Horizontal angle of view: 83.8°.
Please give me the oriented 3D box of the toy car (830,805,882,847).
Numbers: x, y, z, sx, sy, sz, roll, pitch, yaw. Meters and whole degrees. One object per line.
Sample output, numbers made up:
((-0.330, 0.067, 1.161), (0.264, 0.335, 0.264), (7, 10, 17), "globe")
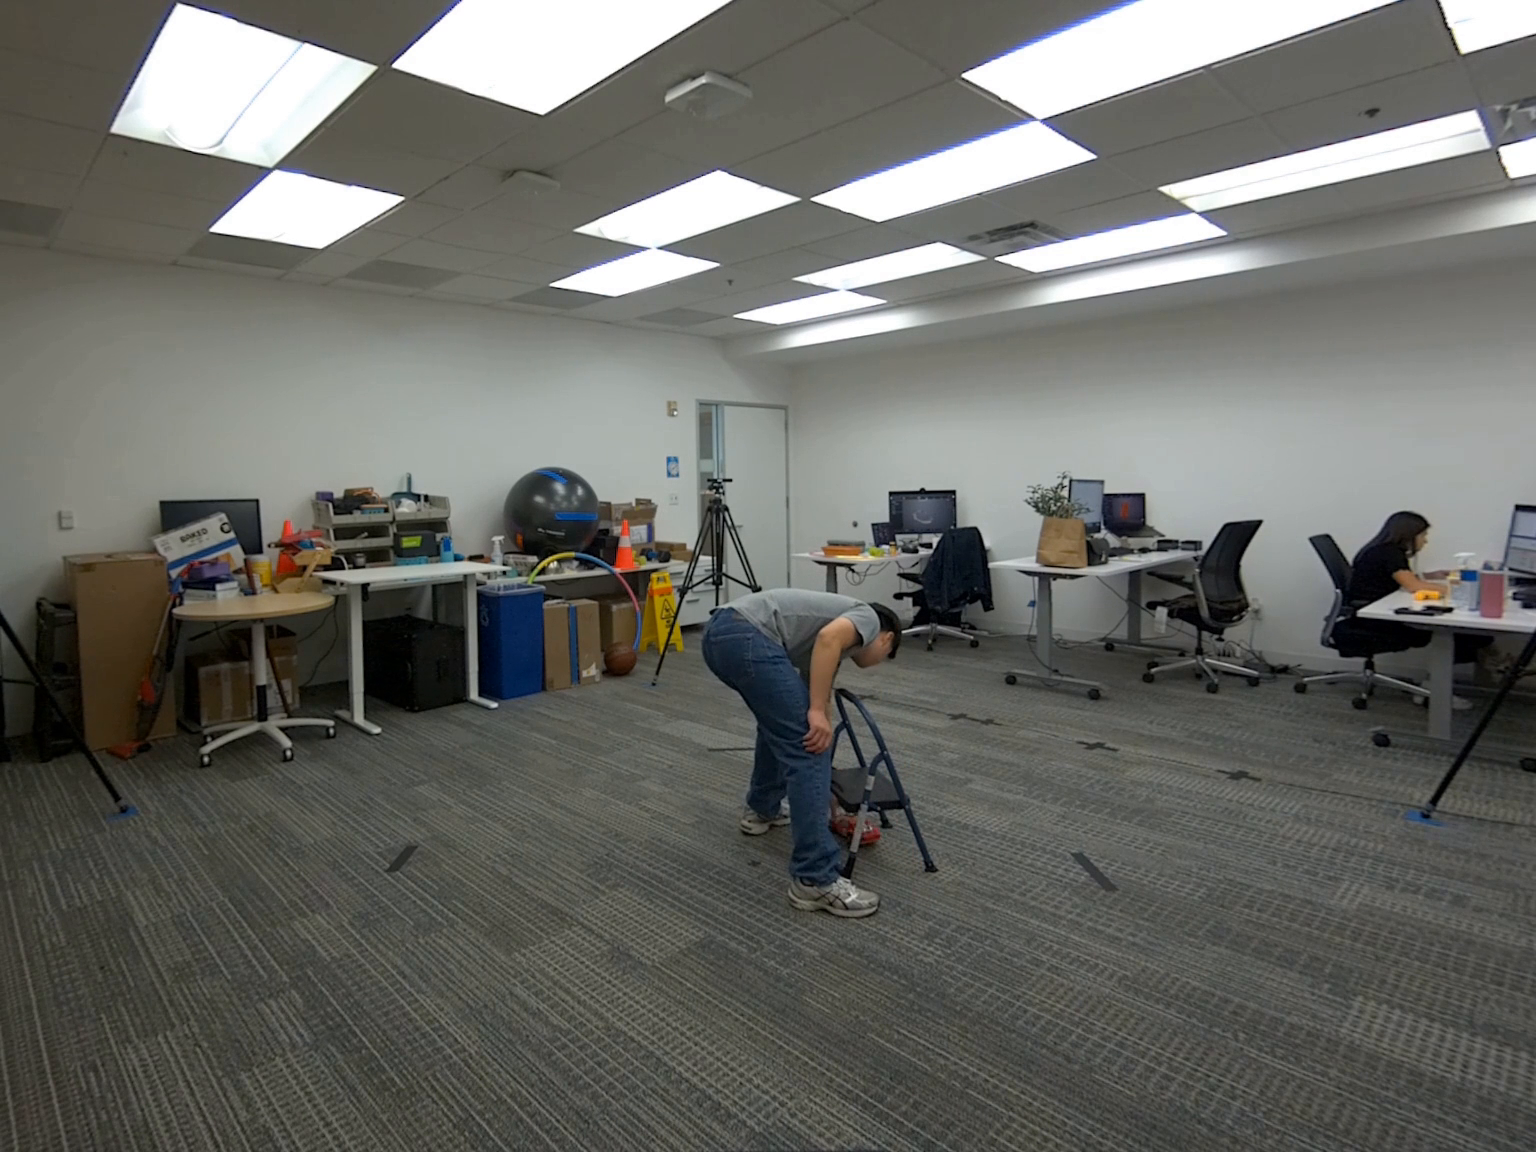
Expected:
((0.336, 0.986, 3.333), (0.127, 0.084, 0.258), (-2, -6, -26), "toy car")
